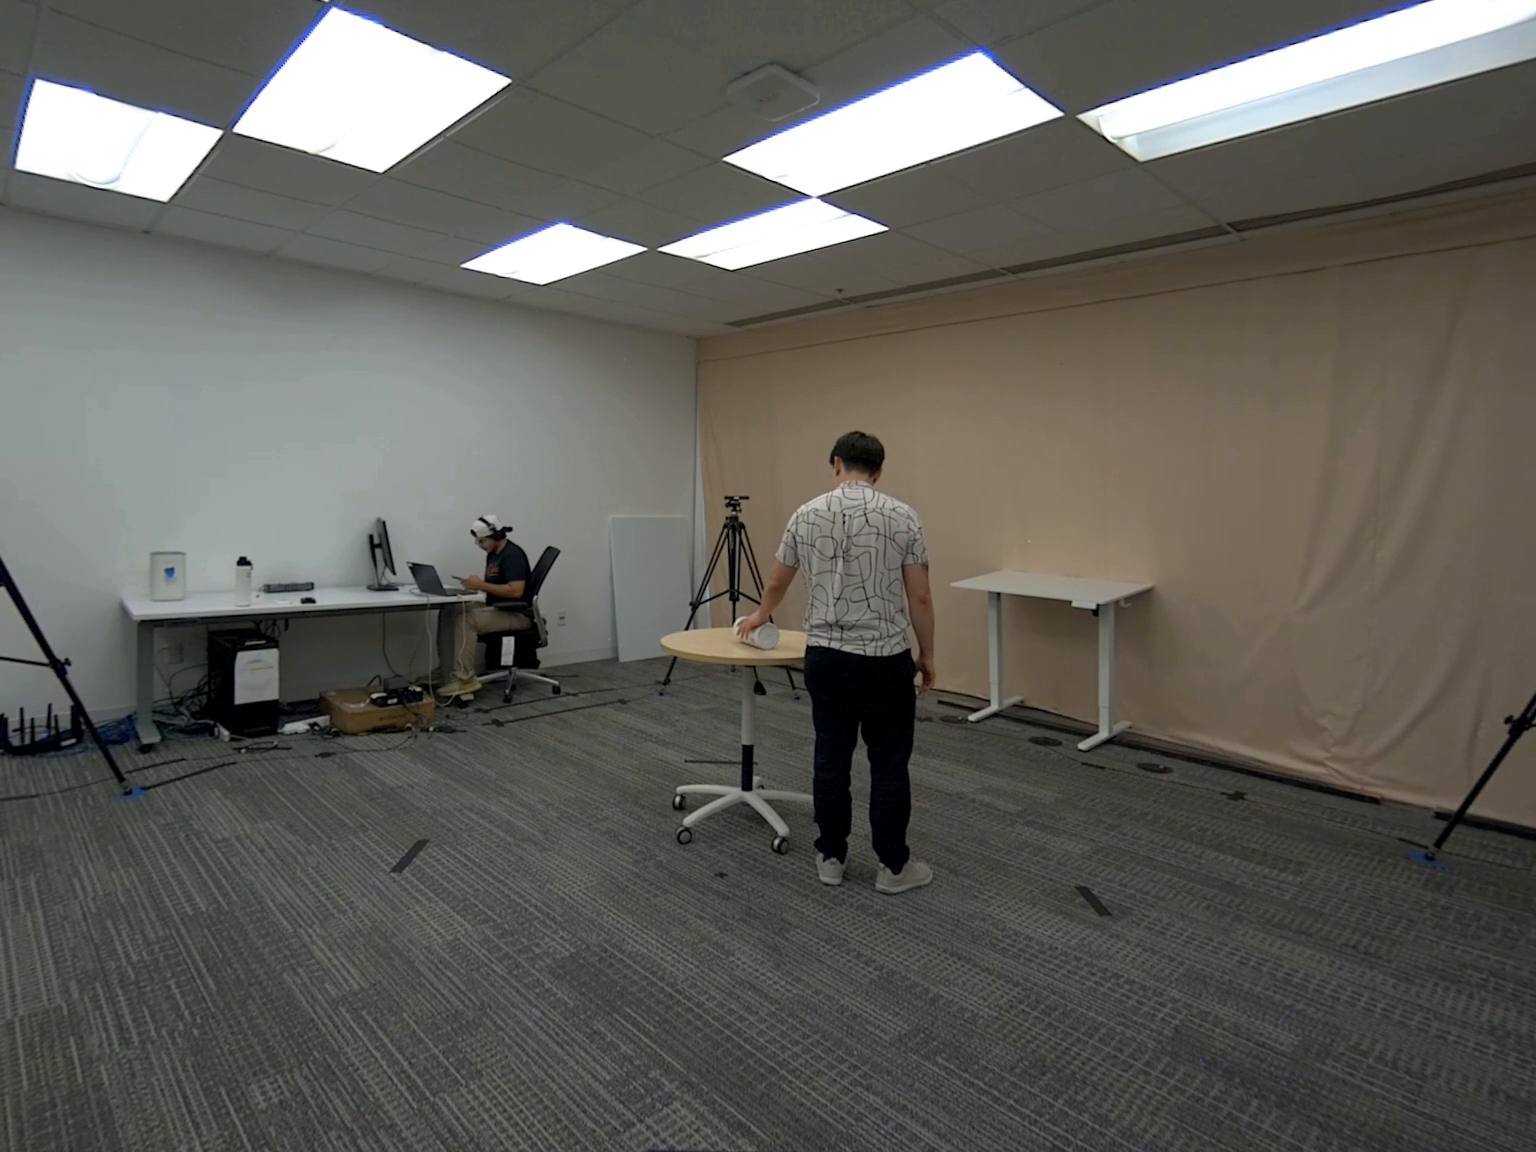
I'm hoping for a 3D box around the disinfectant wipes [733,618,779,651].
[{"bbox_3d":[-0.053,0.233,3.487,0.115,0.117,0.222,-1,5,-27],"label":"disinfectant wipes"}]
